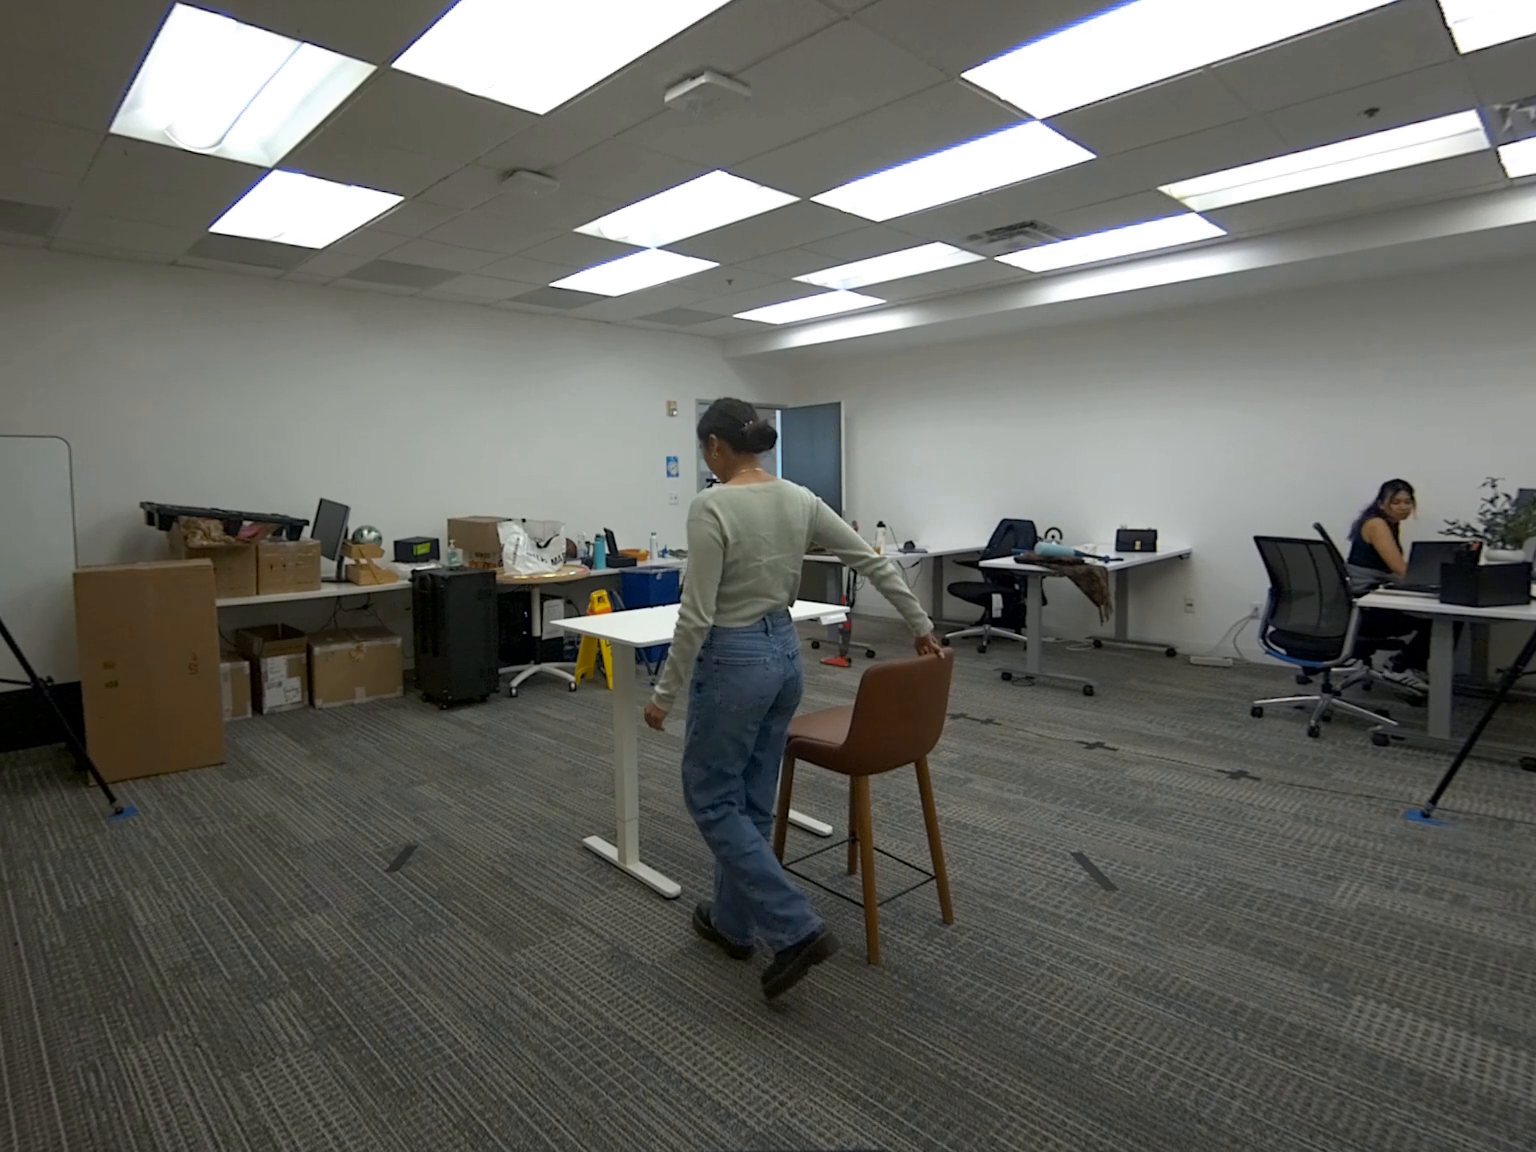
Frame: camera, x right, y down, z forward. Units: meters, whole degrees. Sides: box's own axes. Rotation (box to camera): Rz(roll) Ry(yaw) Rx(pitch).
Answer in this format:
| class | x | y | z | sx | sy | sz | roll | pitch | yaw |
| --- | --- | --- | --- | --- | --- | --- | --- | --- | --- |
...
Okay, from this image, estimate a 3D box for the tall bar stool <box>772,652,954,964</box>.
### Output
| class | x | y | z | sx | sy | sz | roll | pitch | yaw |
| --- | --- | --- | --- | --- | --- | --- | --- | --- | --- |
| tall bar stool | 0.300 | 0.644 | 2.700 | 0.445 | 0.885 | 0.482 | -5 | 8 | -39 |
